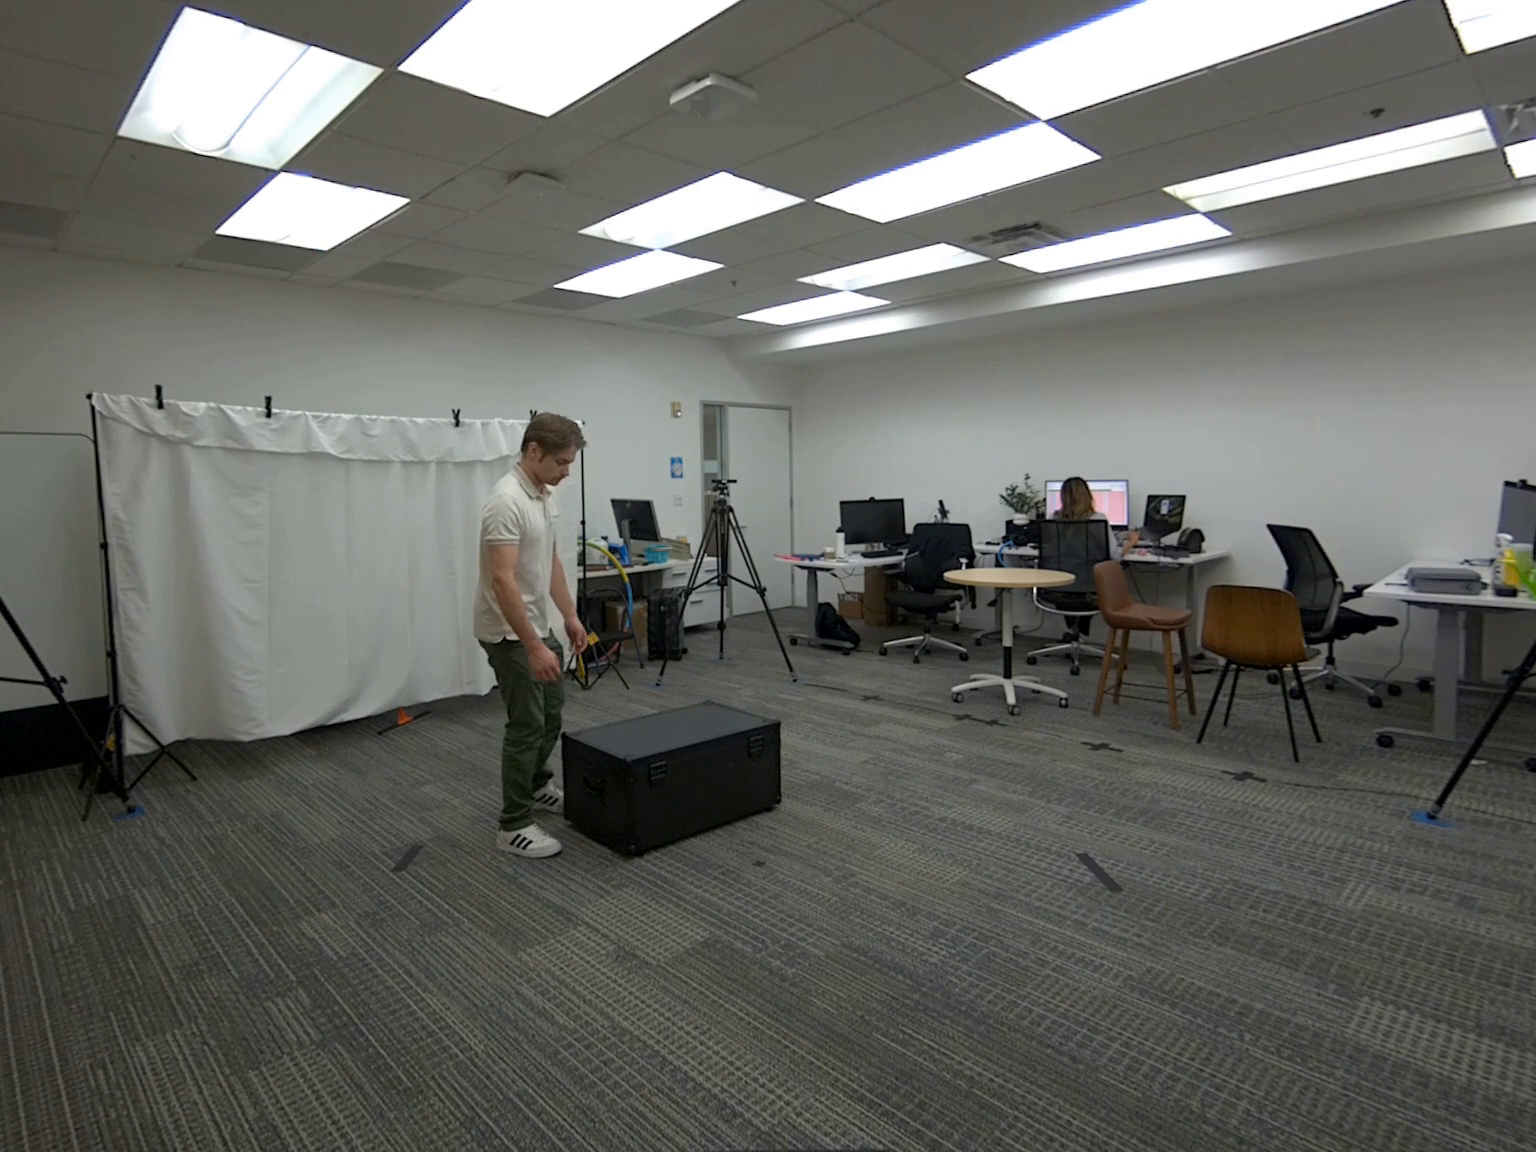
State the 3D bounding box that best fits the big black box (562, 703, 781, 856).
[{"bbox_3d":[-0.365,0.812,3.578,0.839,0.394,0.537,-7,8,-42],"label":"big black box"}]
